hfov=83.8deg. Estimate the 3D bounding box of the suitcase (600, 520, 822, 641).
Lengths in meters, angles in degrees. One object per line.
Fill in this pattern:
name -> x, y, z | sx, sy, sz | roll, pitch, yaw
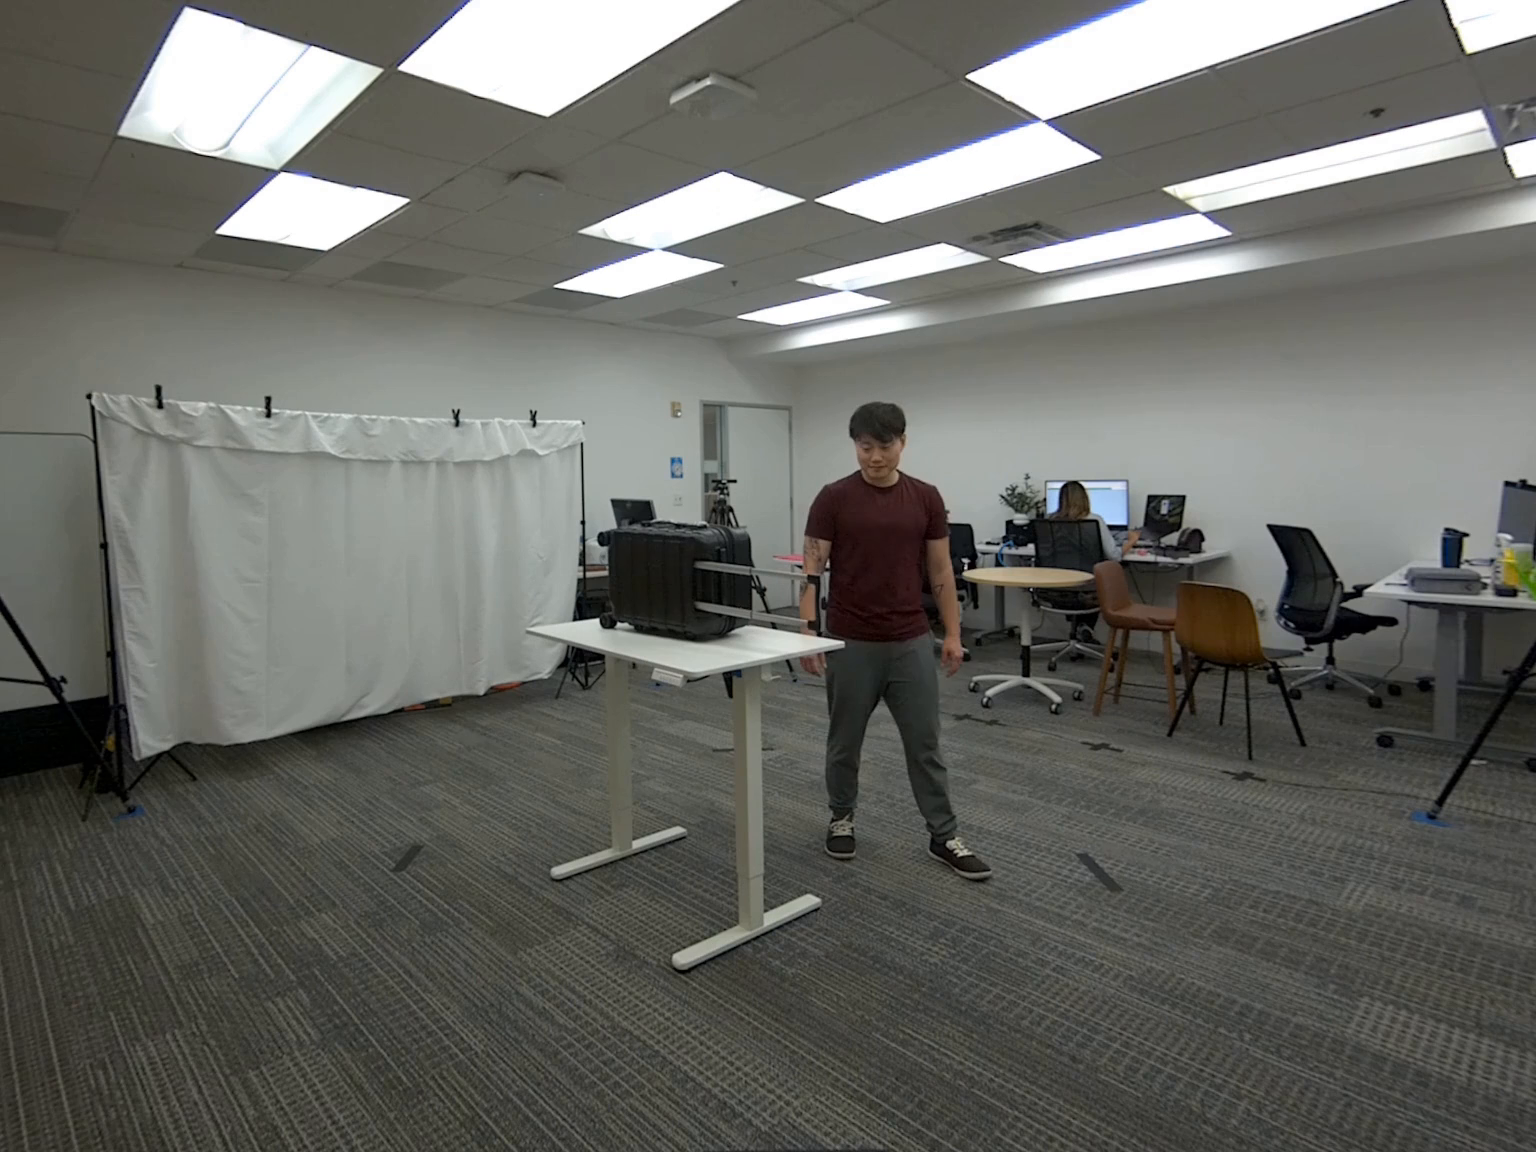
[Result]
suitcase -> -0.152, 0.020, 2.776 | 1.009, 0.382, 0.250 | 4, 7, 42
